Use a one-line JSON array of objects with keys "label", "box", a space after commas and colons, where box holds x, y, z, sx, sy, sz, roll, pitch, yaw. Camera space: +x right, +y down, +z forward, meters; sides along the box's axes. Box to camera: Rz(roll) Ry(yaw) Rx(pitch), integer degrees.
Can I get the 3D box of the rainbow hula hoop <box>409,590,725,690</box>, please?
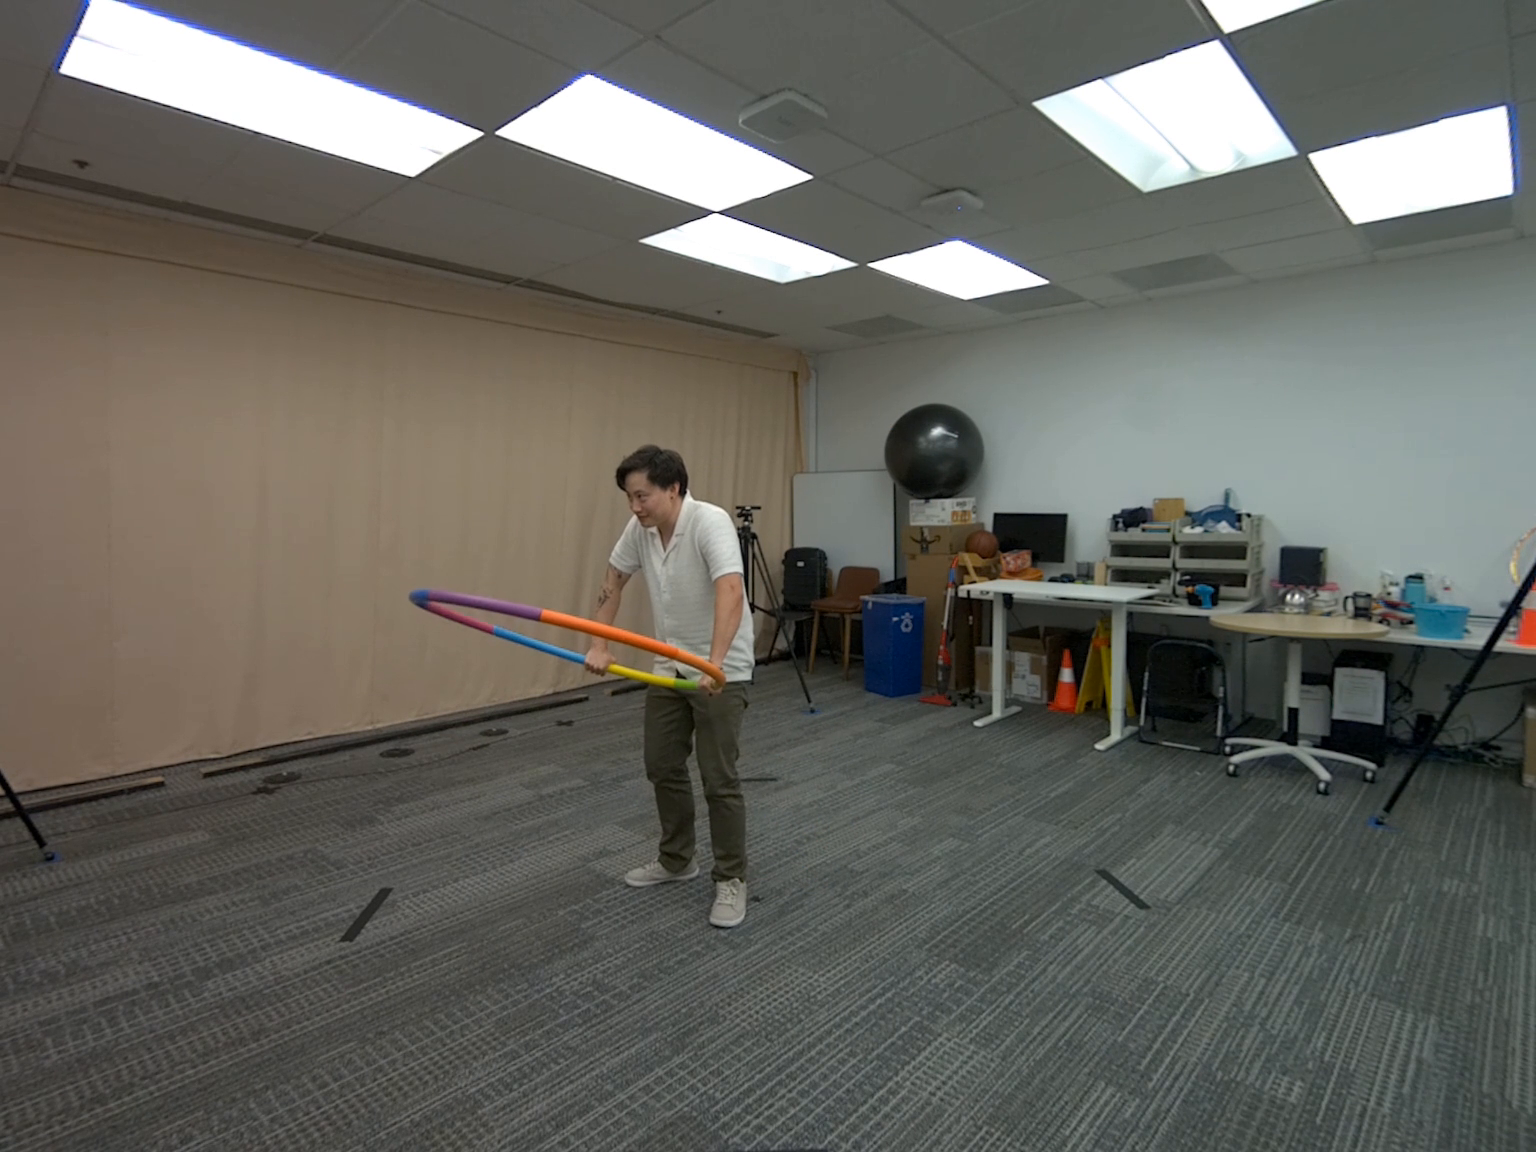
[{"label": "rainbow hula hoop", "box": [-0.619, 0.202, 2.583, 0.983, 0.036, 0.971, 15, -14, 2]}]
